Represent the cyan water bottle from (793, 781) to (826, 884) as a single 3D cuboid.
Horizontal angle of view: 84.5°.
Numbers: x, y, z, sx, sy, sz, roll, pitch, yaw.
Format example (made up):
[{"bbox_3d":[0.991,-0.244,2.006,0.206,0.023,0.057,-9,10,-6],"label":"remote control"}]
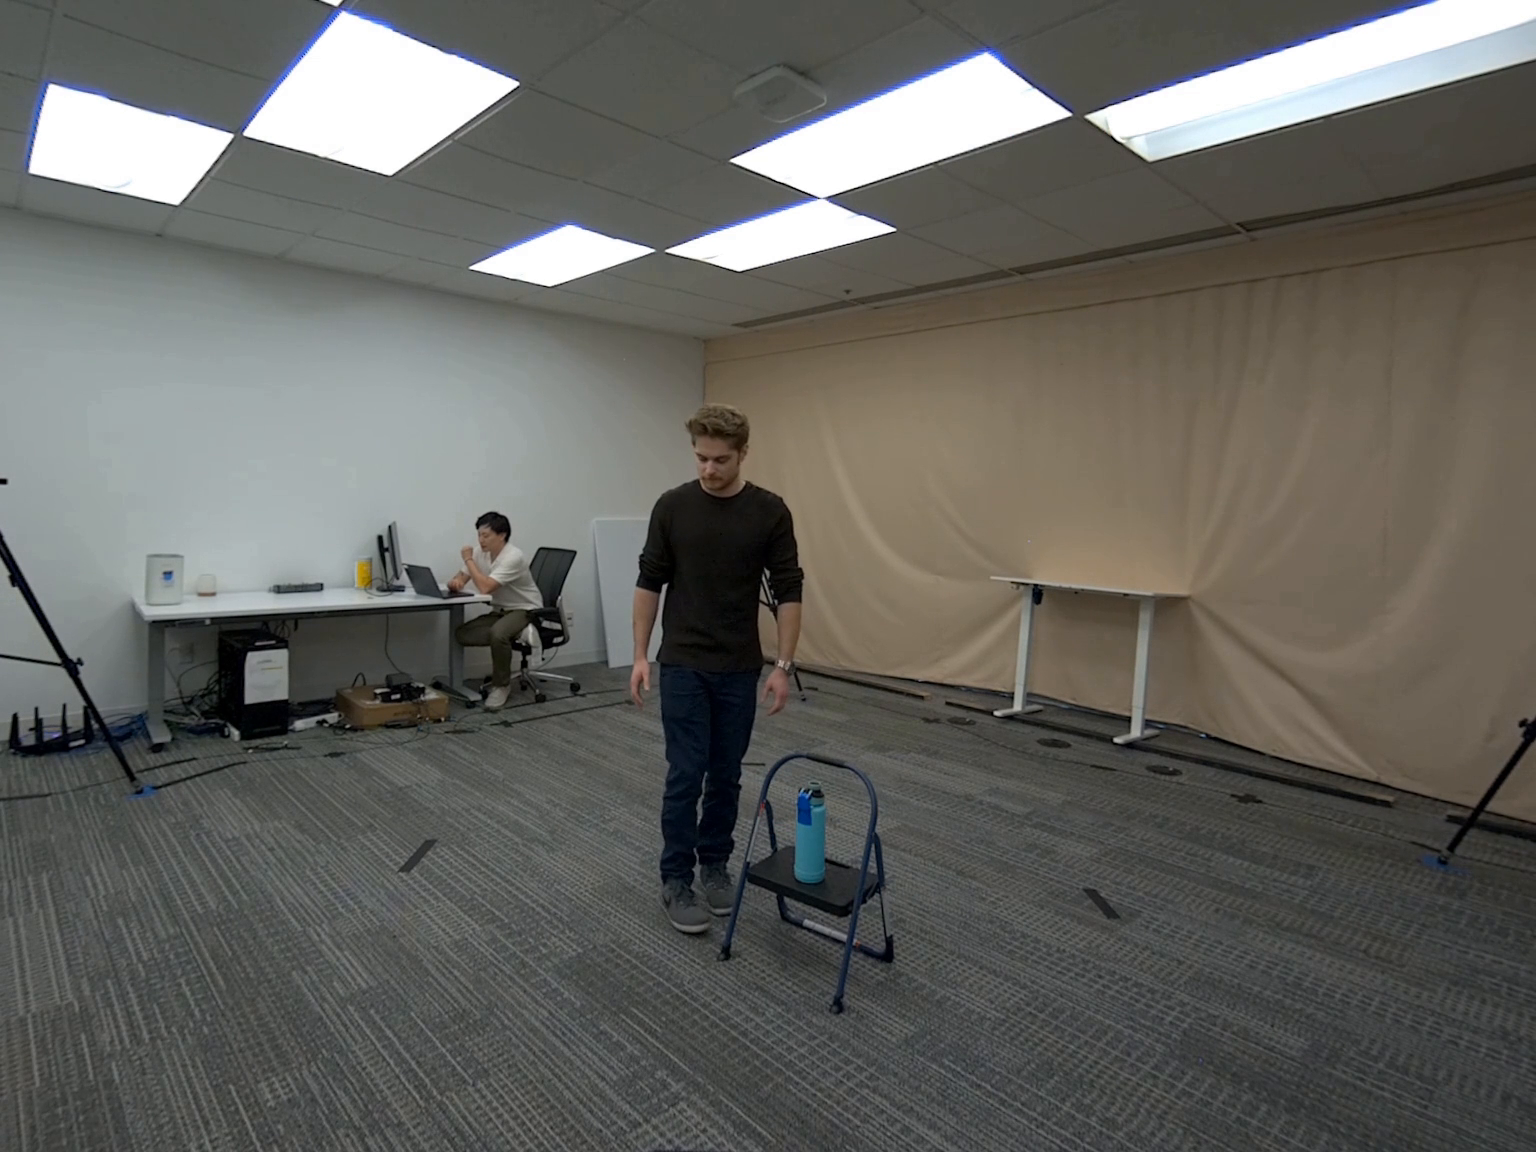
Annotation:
[{"bbox_3d":[0.124,0.766,2.511,0.092,0.282,0.093,1,5,-1],"label":"cyan water bottle"}]
